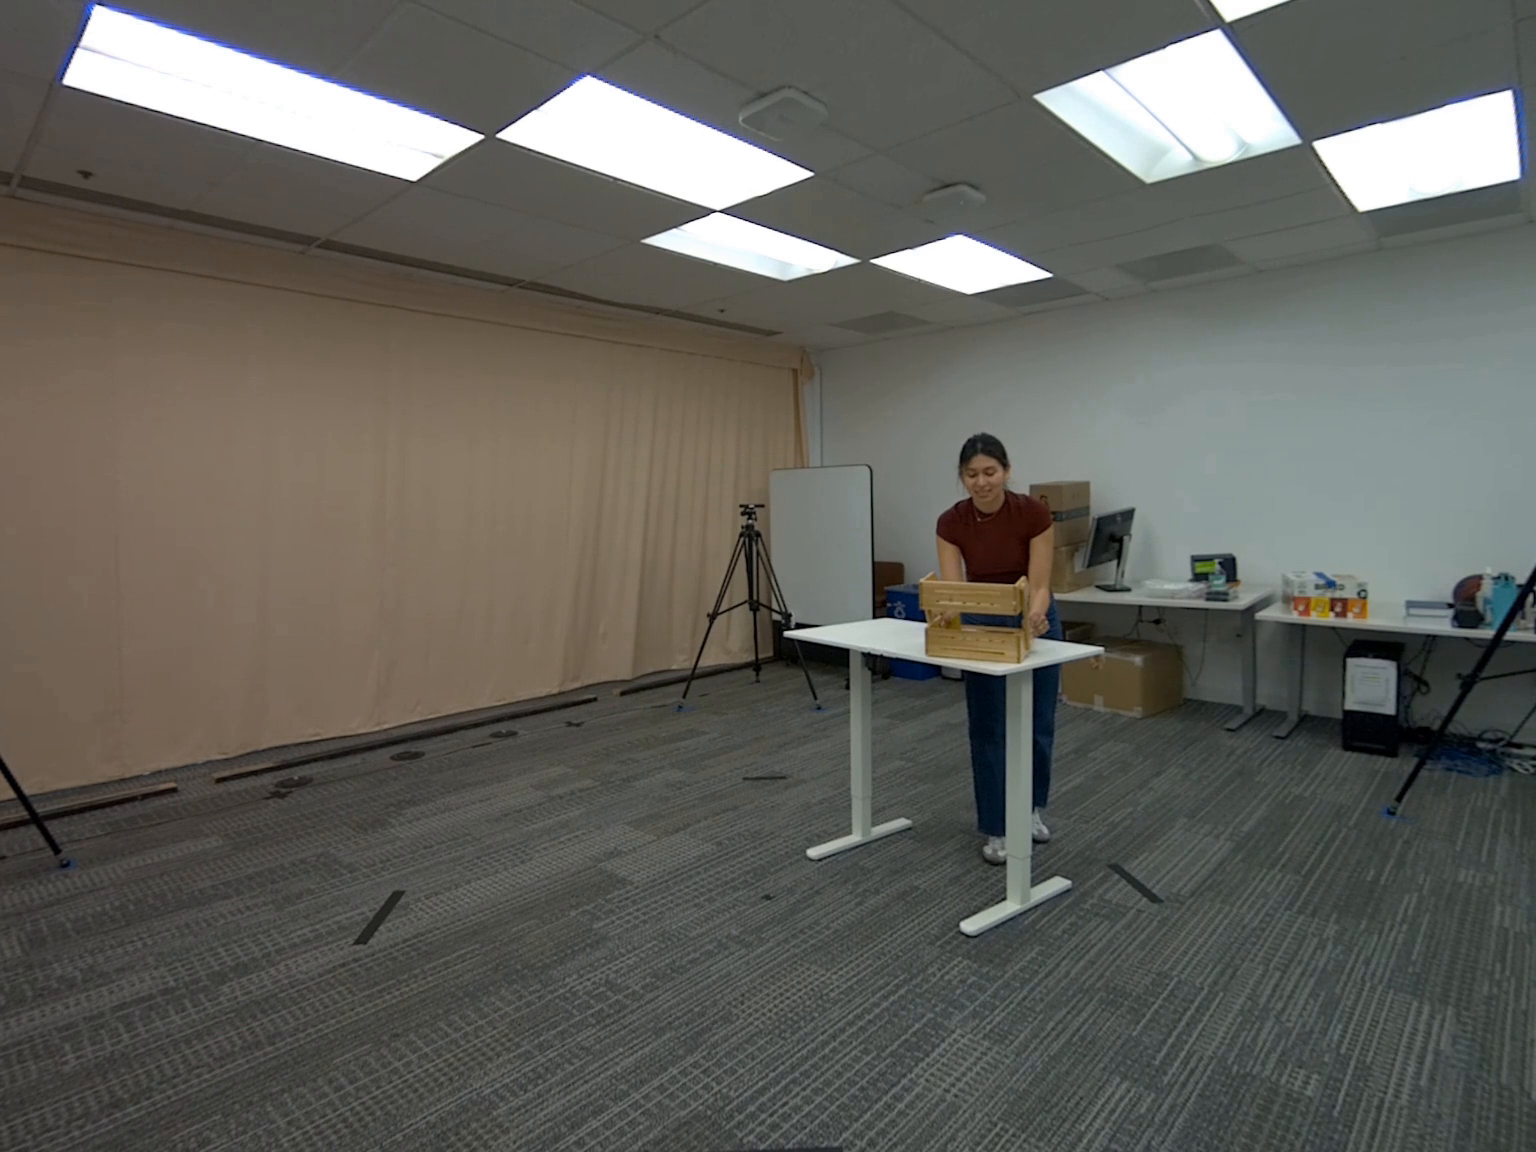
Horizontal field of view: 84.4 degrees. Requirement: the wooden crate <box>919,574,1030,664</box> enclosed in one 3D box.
[{"bbox_3d":[0.700,0.118,2.772,0.333,0.271,0.296,2,11,28],"label":"wooden crate"}]
